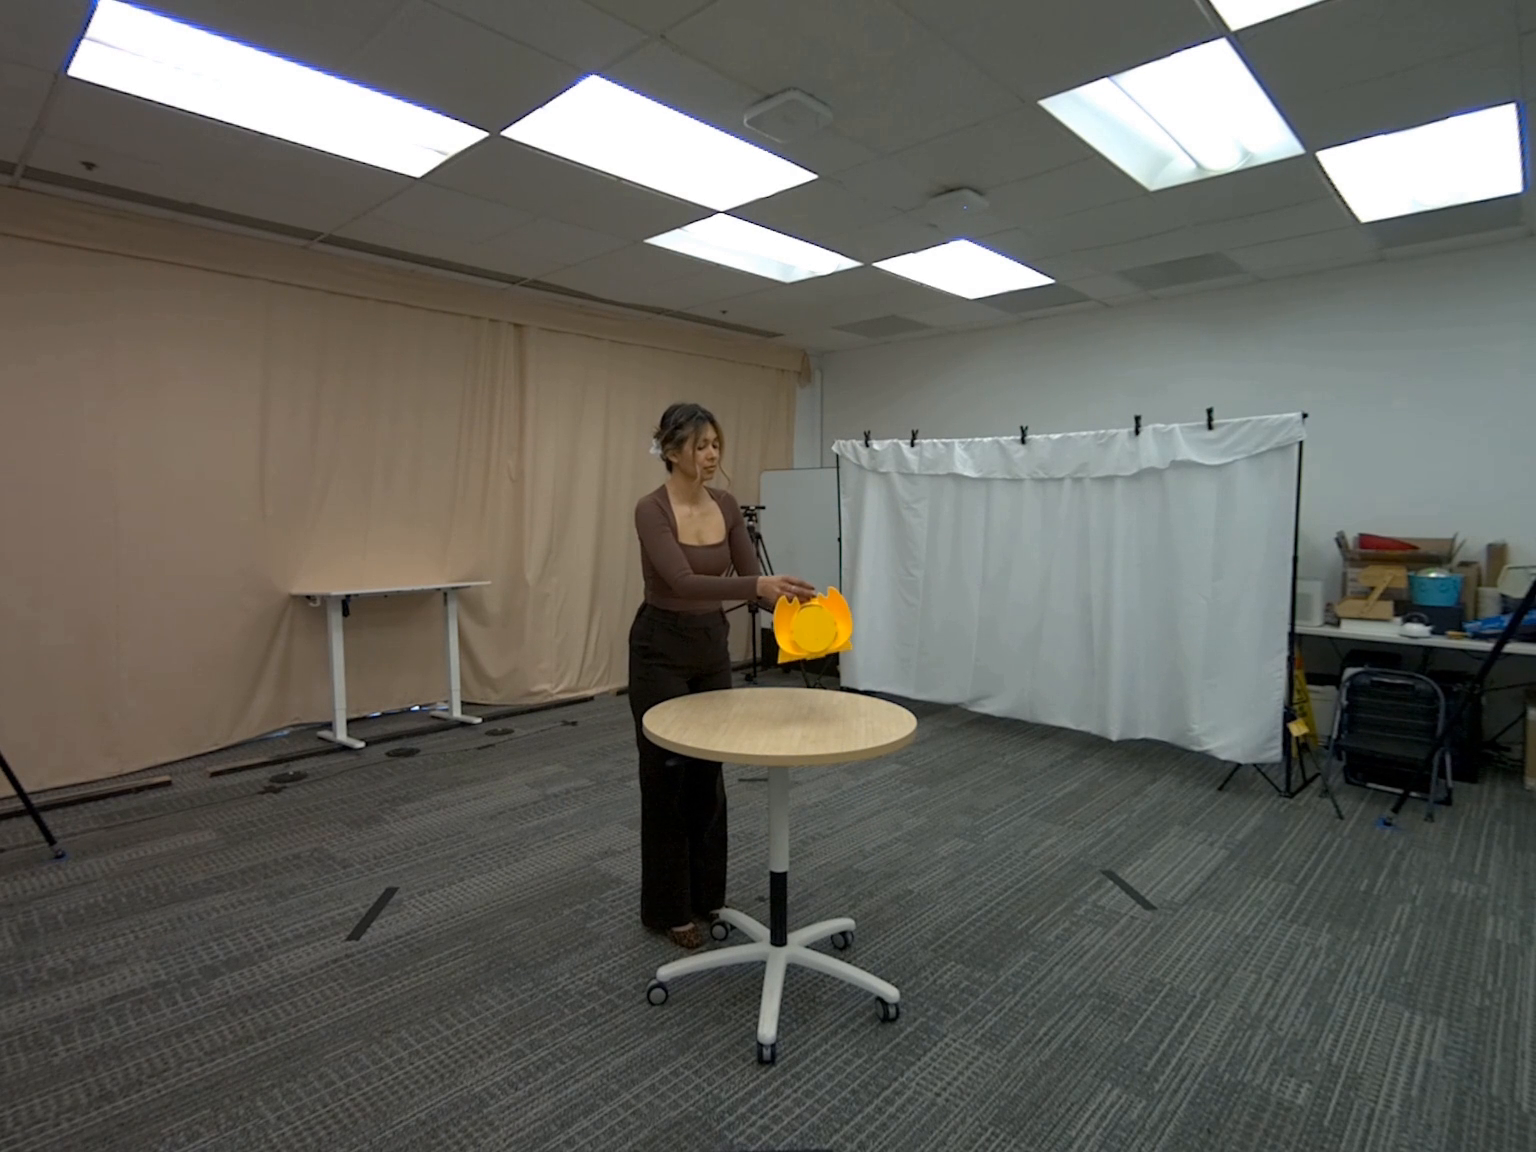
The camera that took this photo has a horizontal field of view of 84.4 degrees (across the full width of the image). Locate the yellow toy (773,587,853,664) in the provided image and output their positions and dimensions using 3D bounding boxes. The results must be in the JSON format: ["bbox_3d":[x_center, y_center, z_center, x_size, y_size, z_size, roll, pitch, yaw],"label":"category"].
[{"bbox_3d":[0.113,0.126,2.285,0.204,0.193,0.231,-11,3,-2],"label":"yellow toy"}]
